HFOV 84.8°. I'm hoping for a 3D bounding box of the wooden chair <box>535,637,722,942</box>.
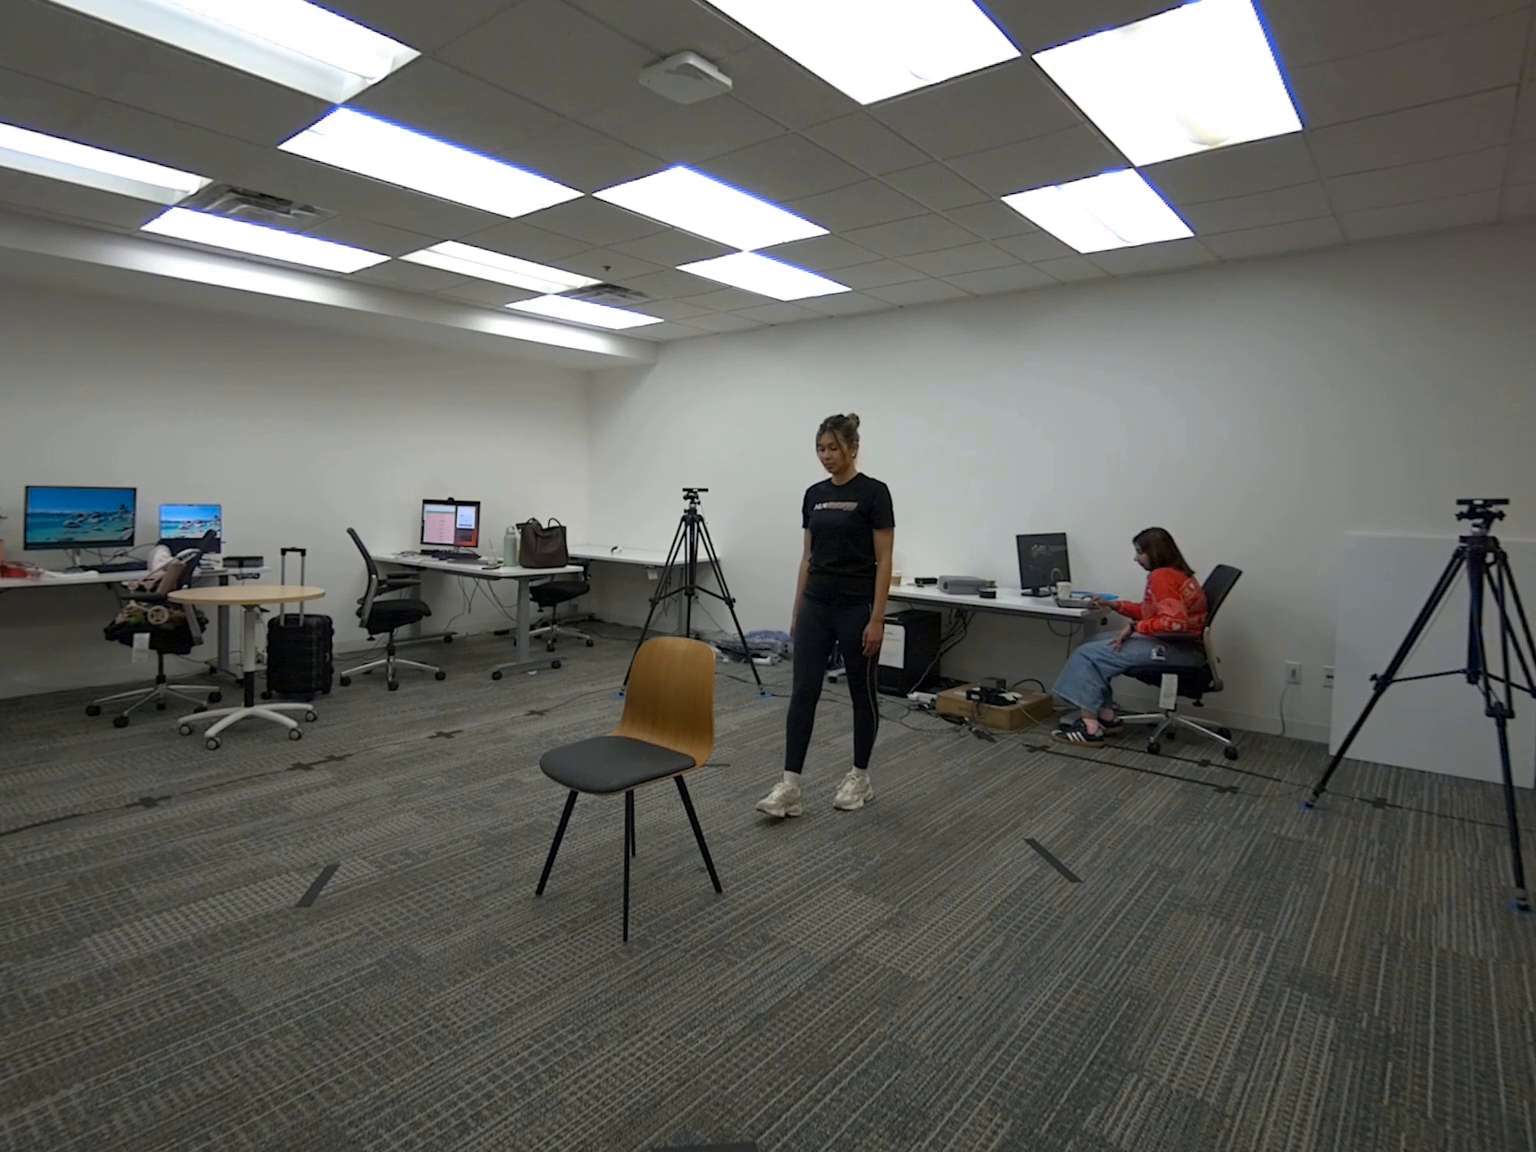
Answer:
[{"bbox_3d":[-0.479,0.660,2.874,0.494,0.878,0.506,4,0,39],"label":"wooden chair"}]
